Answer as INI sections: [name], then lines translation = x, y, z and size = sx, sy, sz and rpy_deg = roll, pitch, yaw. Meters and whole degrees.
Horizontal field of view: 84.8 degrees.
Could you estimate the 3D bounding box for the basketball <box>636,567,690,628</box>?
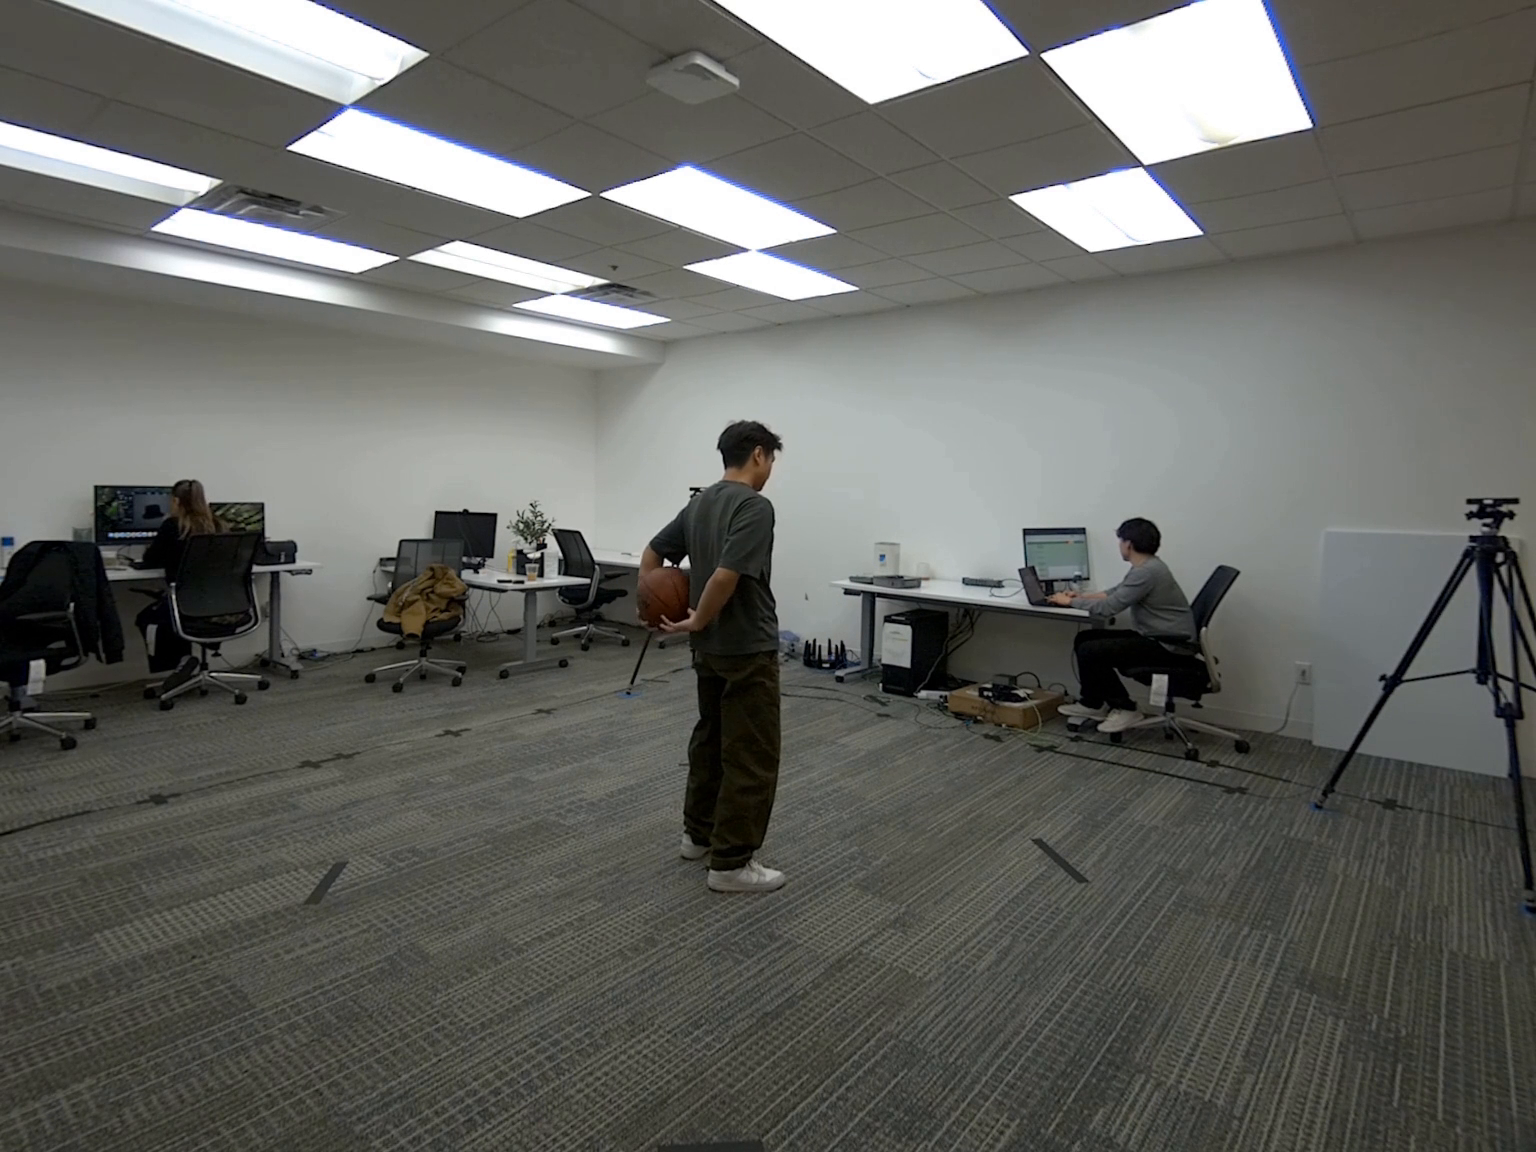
[basketball]
translation = -0.370, 0.086, 3.185
size = 0.235, 0.235, 0.237
rpy_deg = 1, 4, -2
